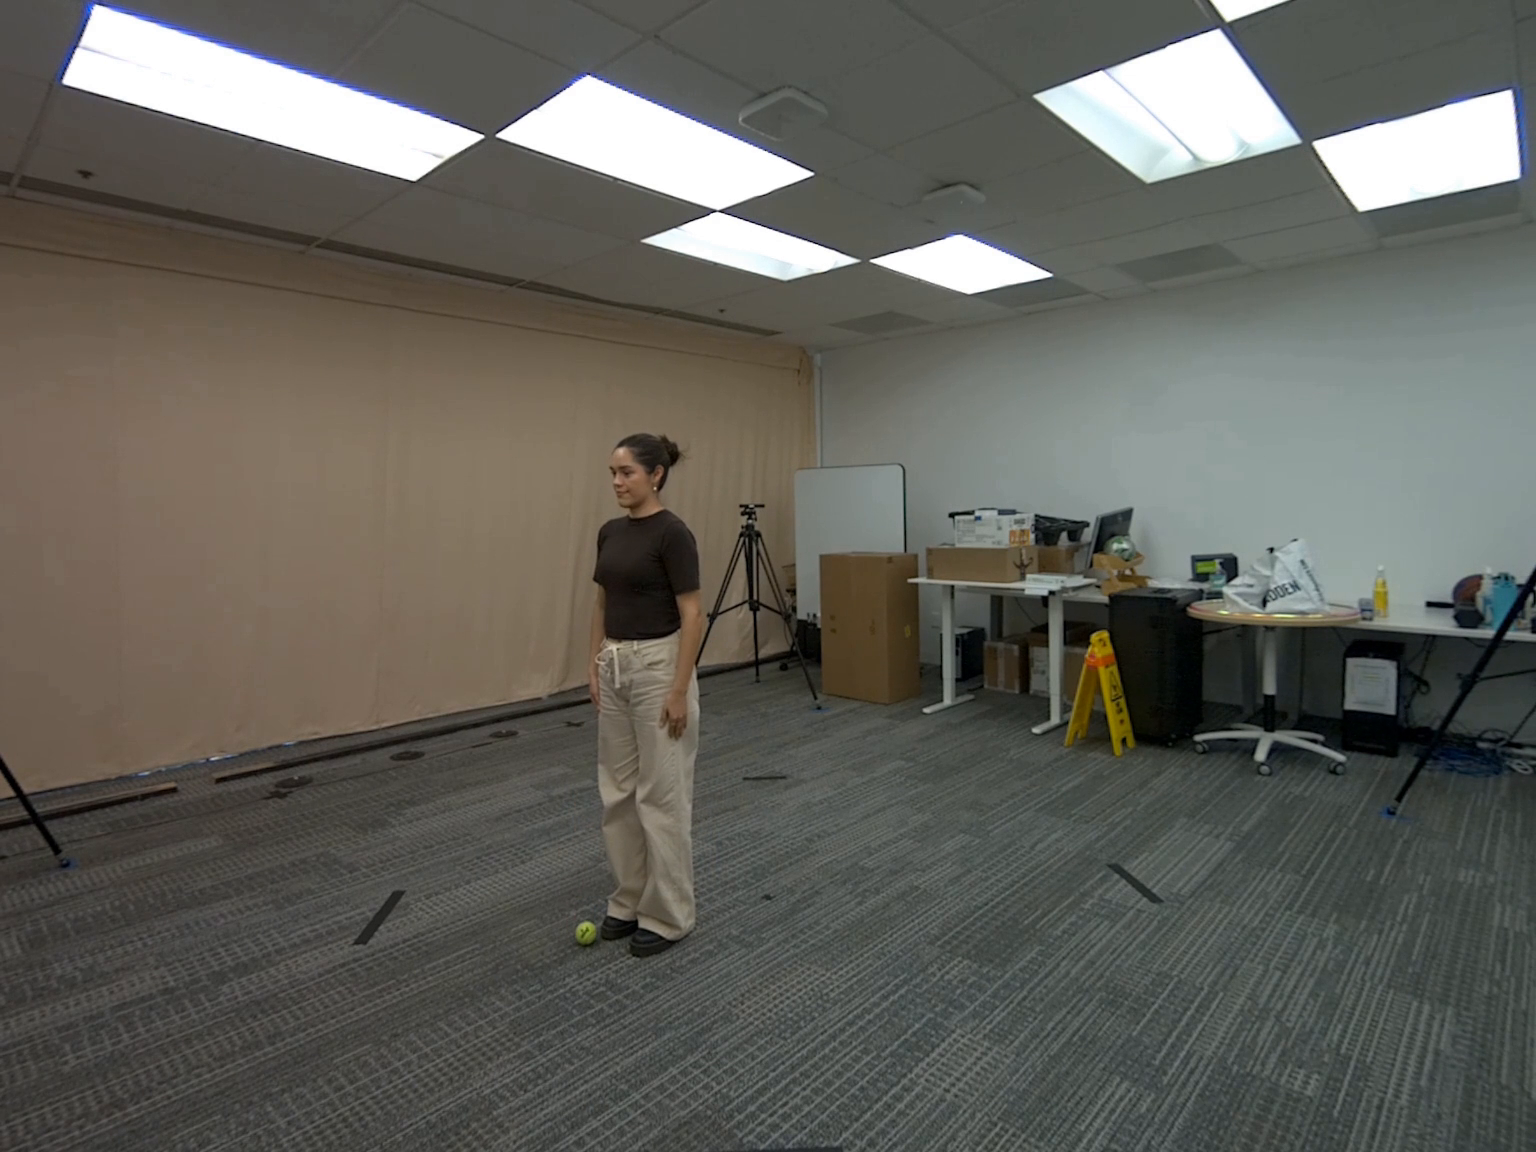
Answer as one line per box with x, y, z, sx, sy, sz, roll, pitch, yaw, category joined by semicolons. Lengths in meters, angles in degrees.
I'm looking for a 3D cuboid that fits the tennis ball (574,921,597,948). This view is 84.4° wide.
-0.577;1.145;2.684;0.066;0.066;0.067;-1;4;-2;tennis ball
